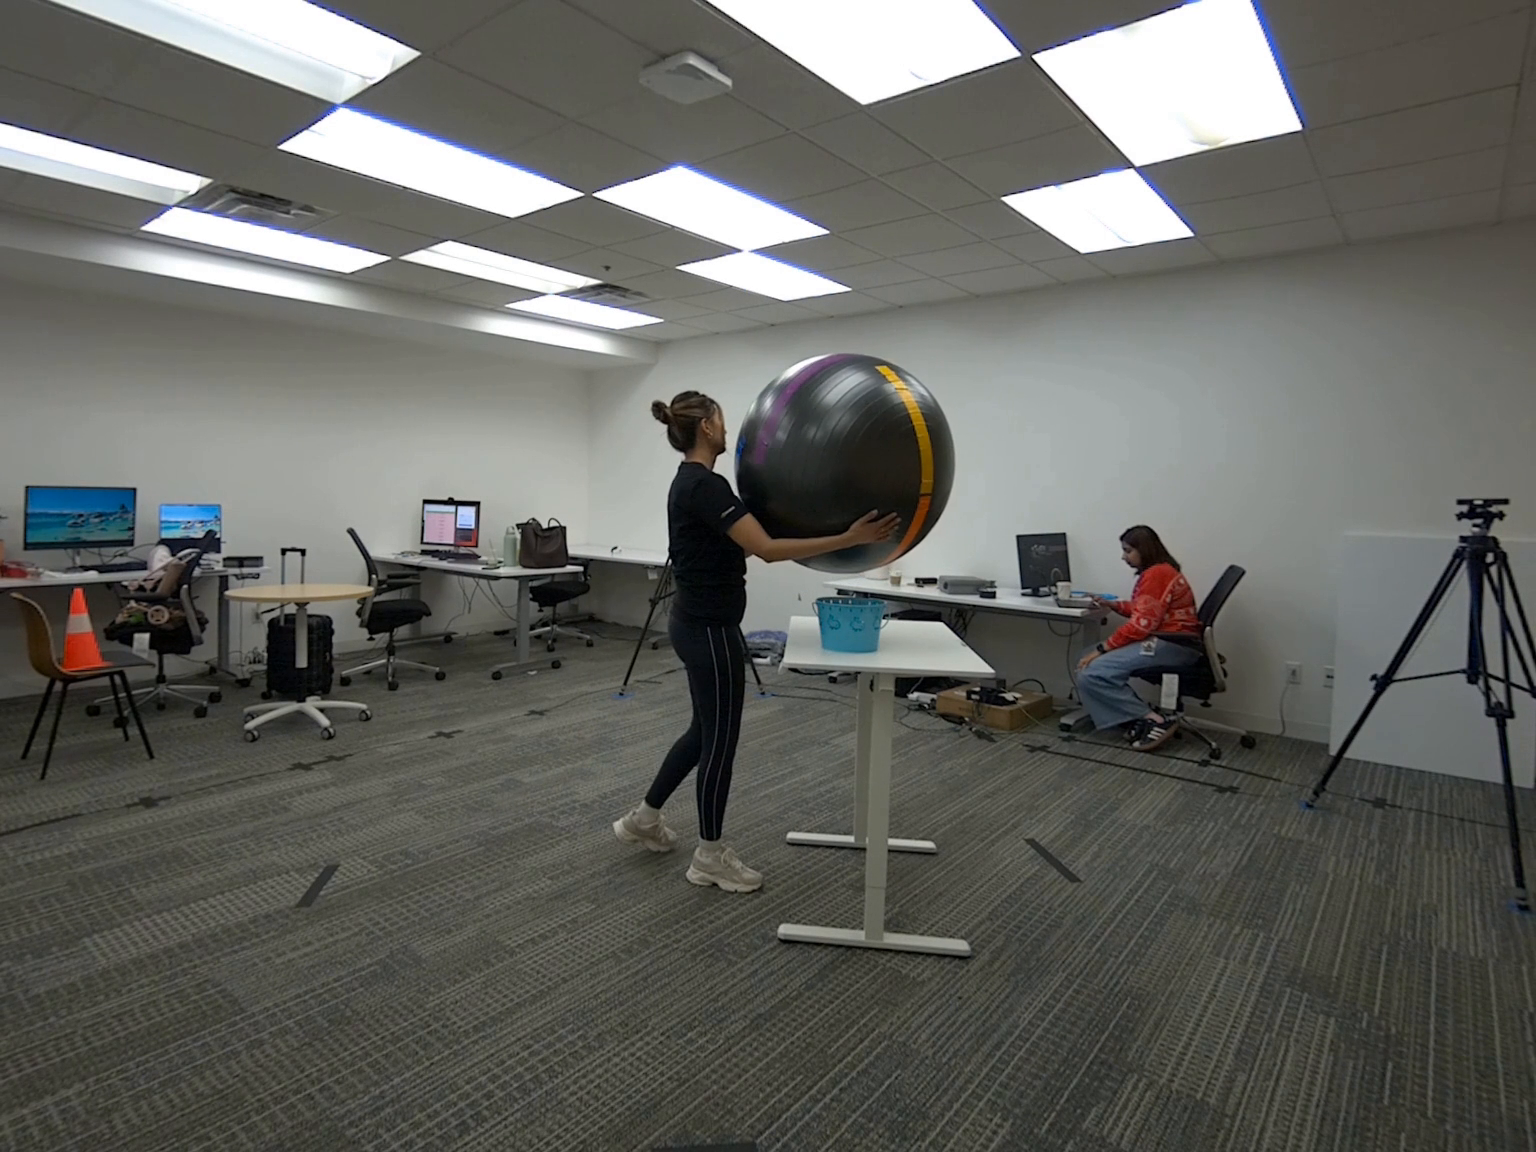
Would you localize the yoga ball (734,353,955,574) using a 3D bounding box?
[{"bbox_3d":[0.249,-0.387,2.960,0.757,0.756,0.762,1,4,-2],"label":"yoga ball"}]
